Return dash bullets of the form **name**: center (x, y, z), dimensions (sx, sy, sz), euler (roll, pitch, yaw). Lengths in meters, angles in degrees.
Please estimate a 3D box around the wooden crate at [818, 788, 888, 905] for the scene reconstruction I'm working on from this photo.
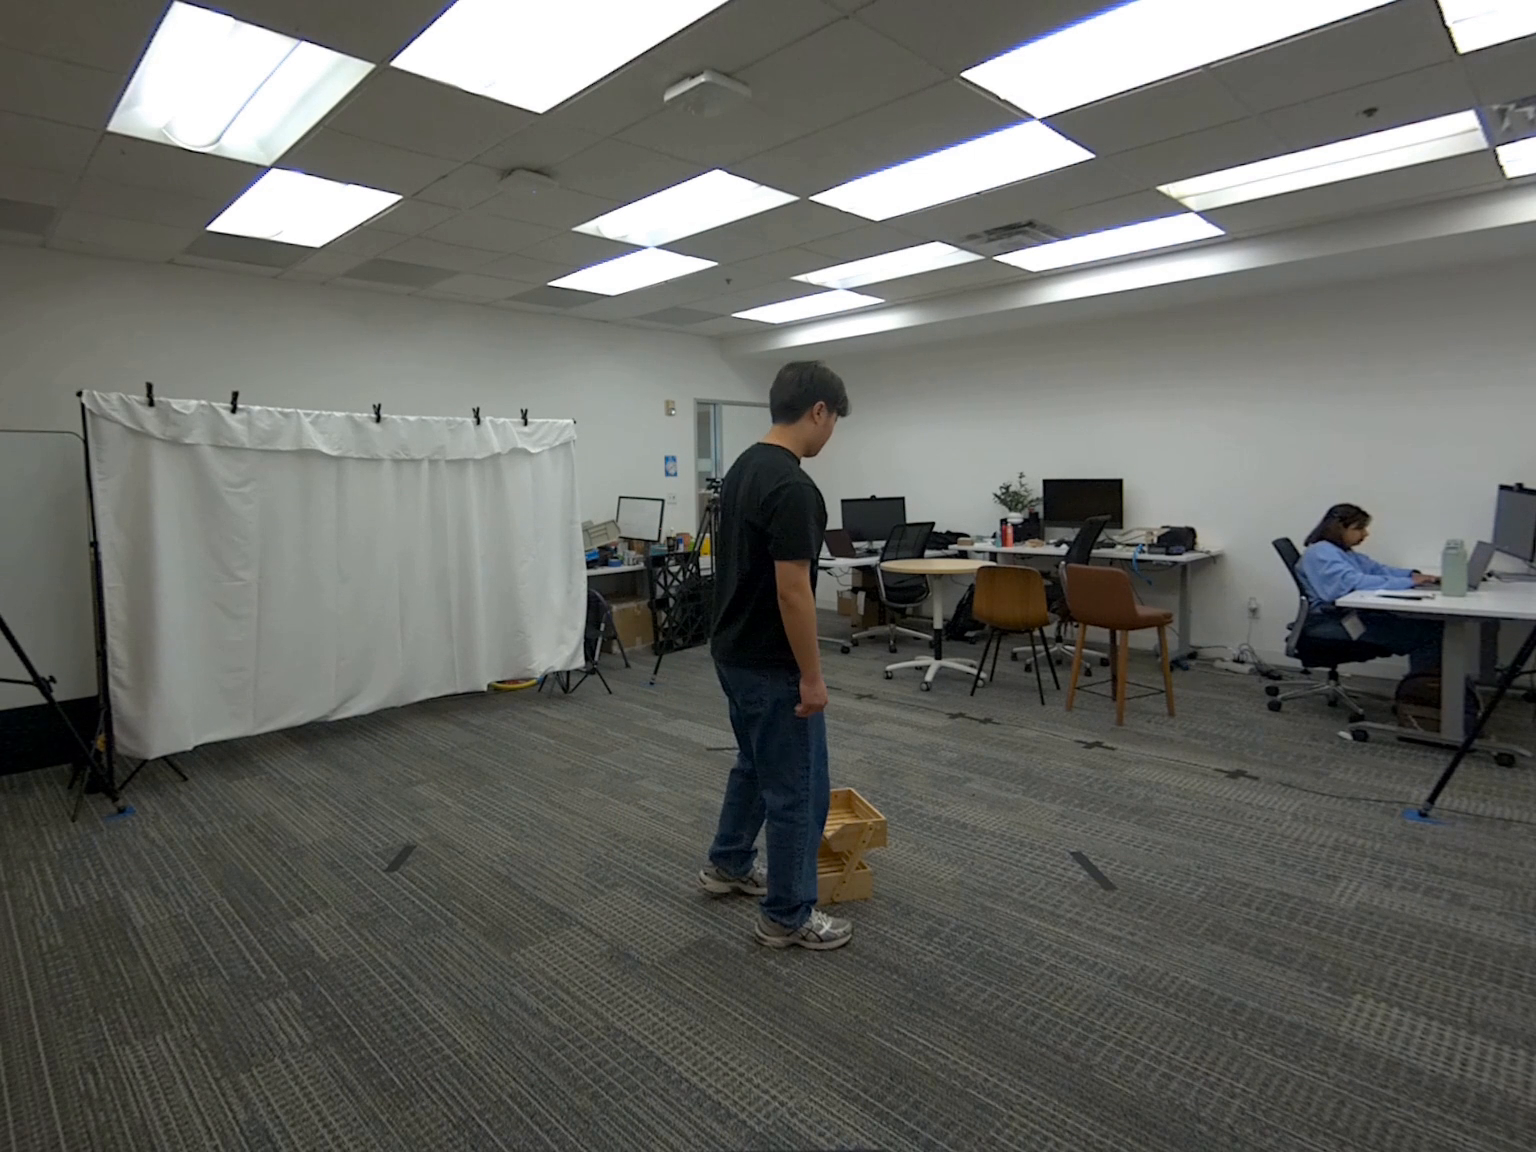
- **wooden crate**: center (0.210, 0.921, 2.951), dimensions (0.298, 0.272, 0.330), euler (-3, 5, -16)
